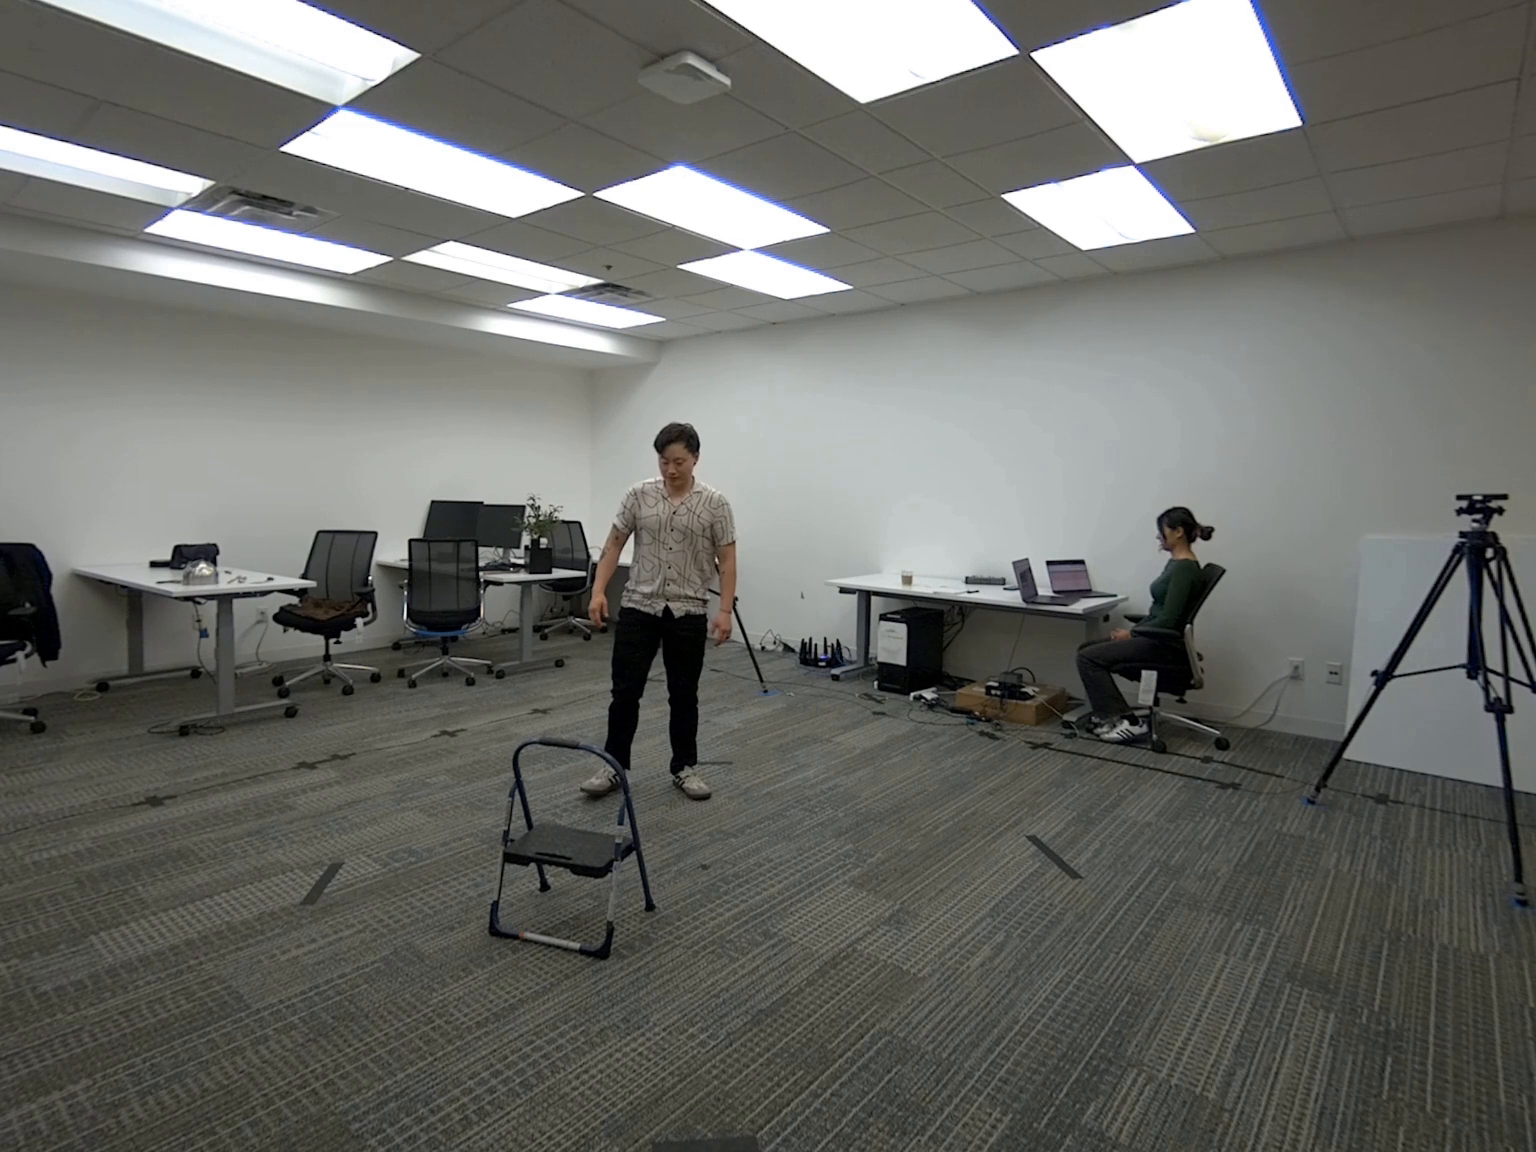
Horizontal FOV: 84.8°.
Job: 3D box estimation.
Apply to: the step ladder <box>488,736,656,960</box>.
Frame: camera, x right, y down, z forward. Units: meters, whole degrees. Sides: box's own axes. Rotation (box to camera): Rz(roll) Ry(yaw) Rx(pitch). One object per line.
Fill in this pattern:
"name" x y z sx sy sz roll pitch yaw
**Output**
"step ladder" -0.632 0.795 2.700 0.439 0.604 0.343 1 4 18
